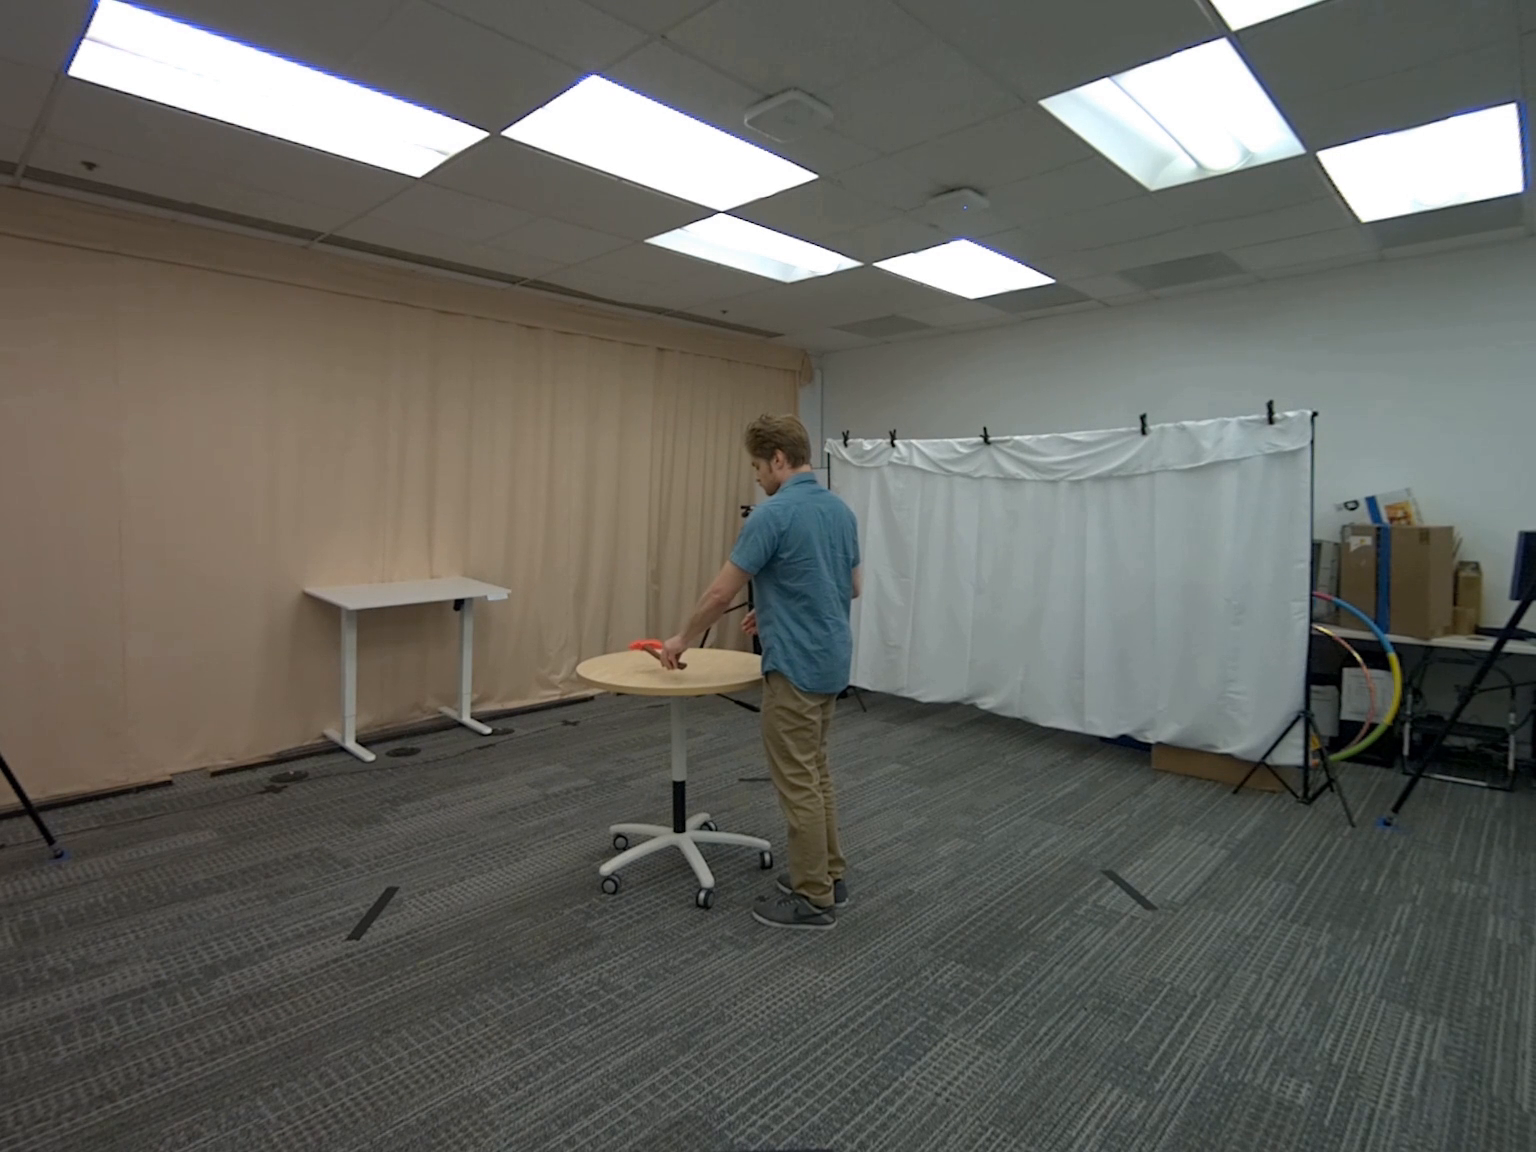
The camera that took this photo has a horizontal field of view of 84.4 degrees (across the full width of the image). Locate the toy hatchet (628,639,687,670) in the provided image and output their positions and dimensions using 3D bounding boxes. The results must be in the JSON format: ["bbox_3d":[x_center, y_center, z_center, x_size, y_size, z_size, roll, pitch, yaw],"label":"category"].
[{"bbox_3d":[-0.357,0.280,3.052,0.279,0.029,0.127,18,21,36],"label":"toy hatchet"}]
